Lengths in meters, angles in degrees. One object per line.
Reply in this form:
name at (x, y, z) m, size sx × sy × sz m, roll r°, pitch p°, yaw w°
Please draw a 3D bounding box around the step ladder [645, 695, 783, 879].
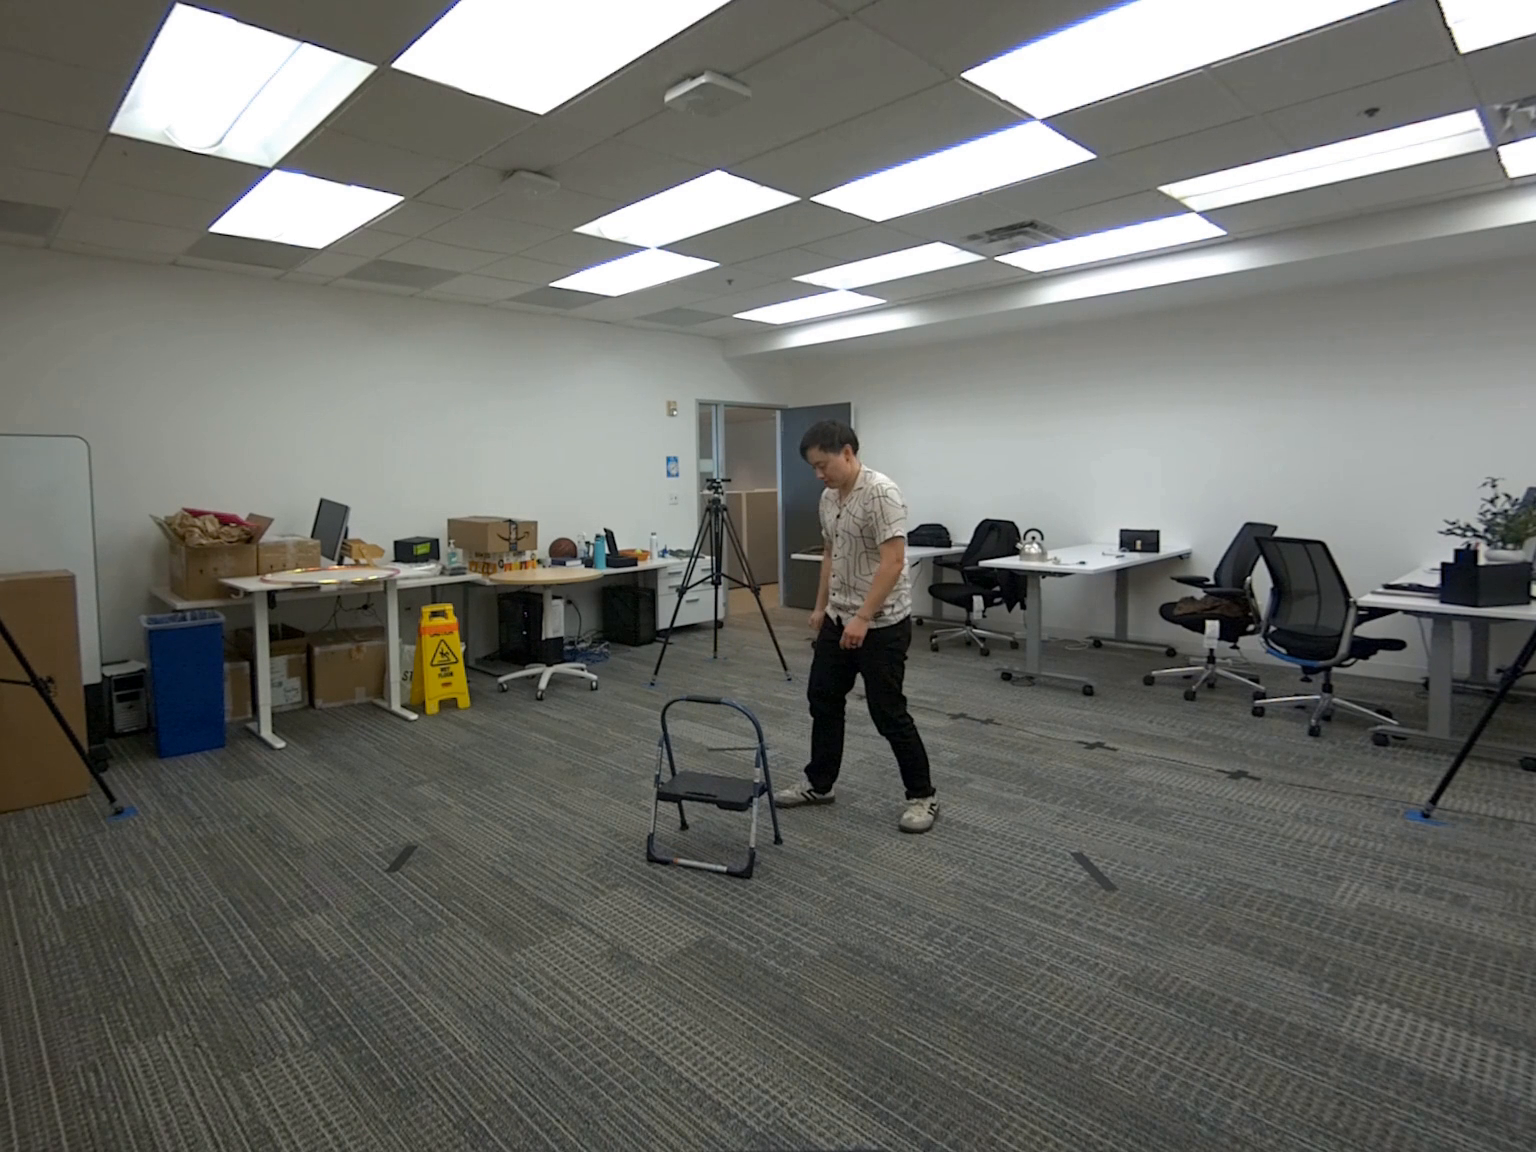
step ladder at (-0.203, 0.733, 3.193) m, size 0.439 × 0.604 × 0.343 m, roll 1°, pitch 4°, yaw 21°
